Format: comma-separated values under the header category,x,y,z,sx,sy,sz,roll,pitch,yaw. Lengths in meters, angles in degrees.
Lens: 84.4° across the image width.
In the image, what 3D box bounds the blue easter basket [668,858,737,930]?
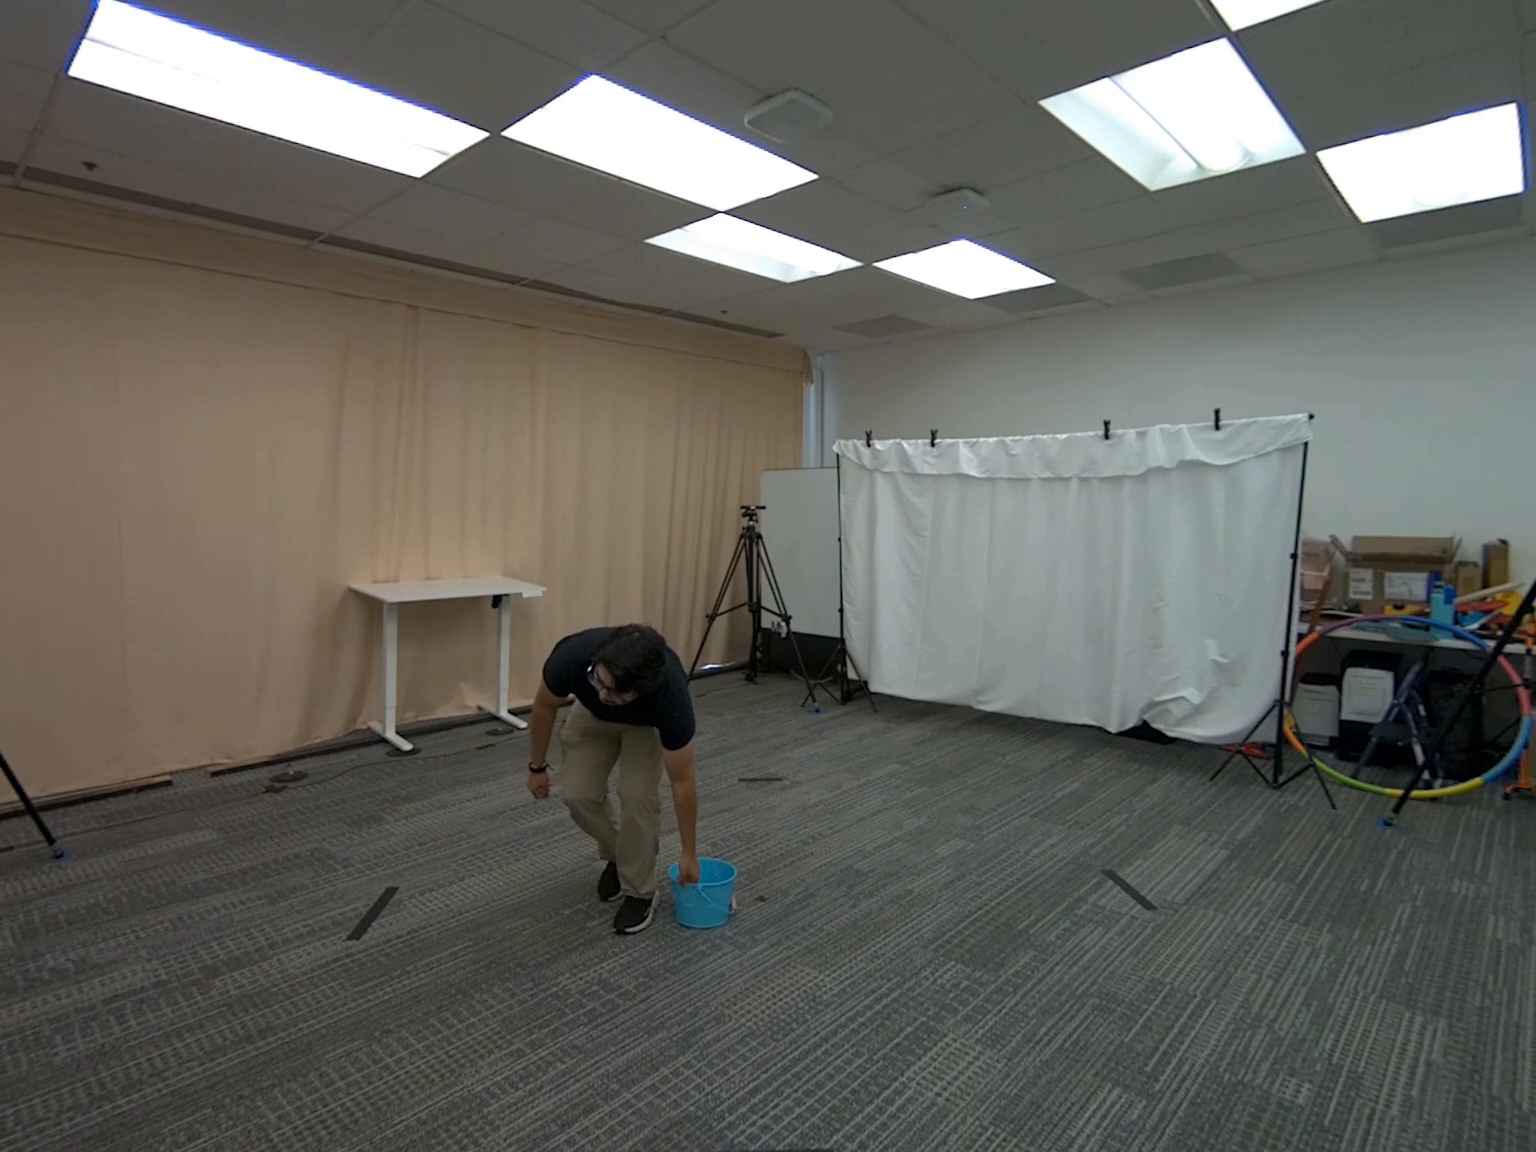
category,x,y,z,sx,sy,sz,roll,pitch,yaw
blue easter basket,-0.221,1.081,2.840,0.243,0.155,0.244,0,3,-2
